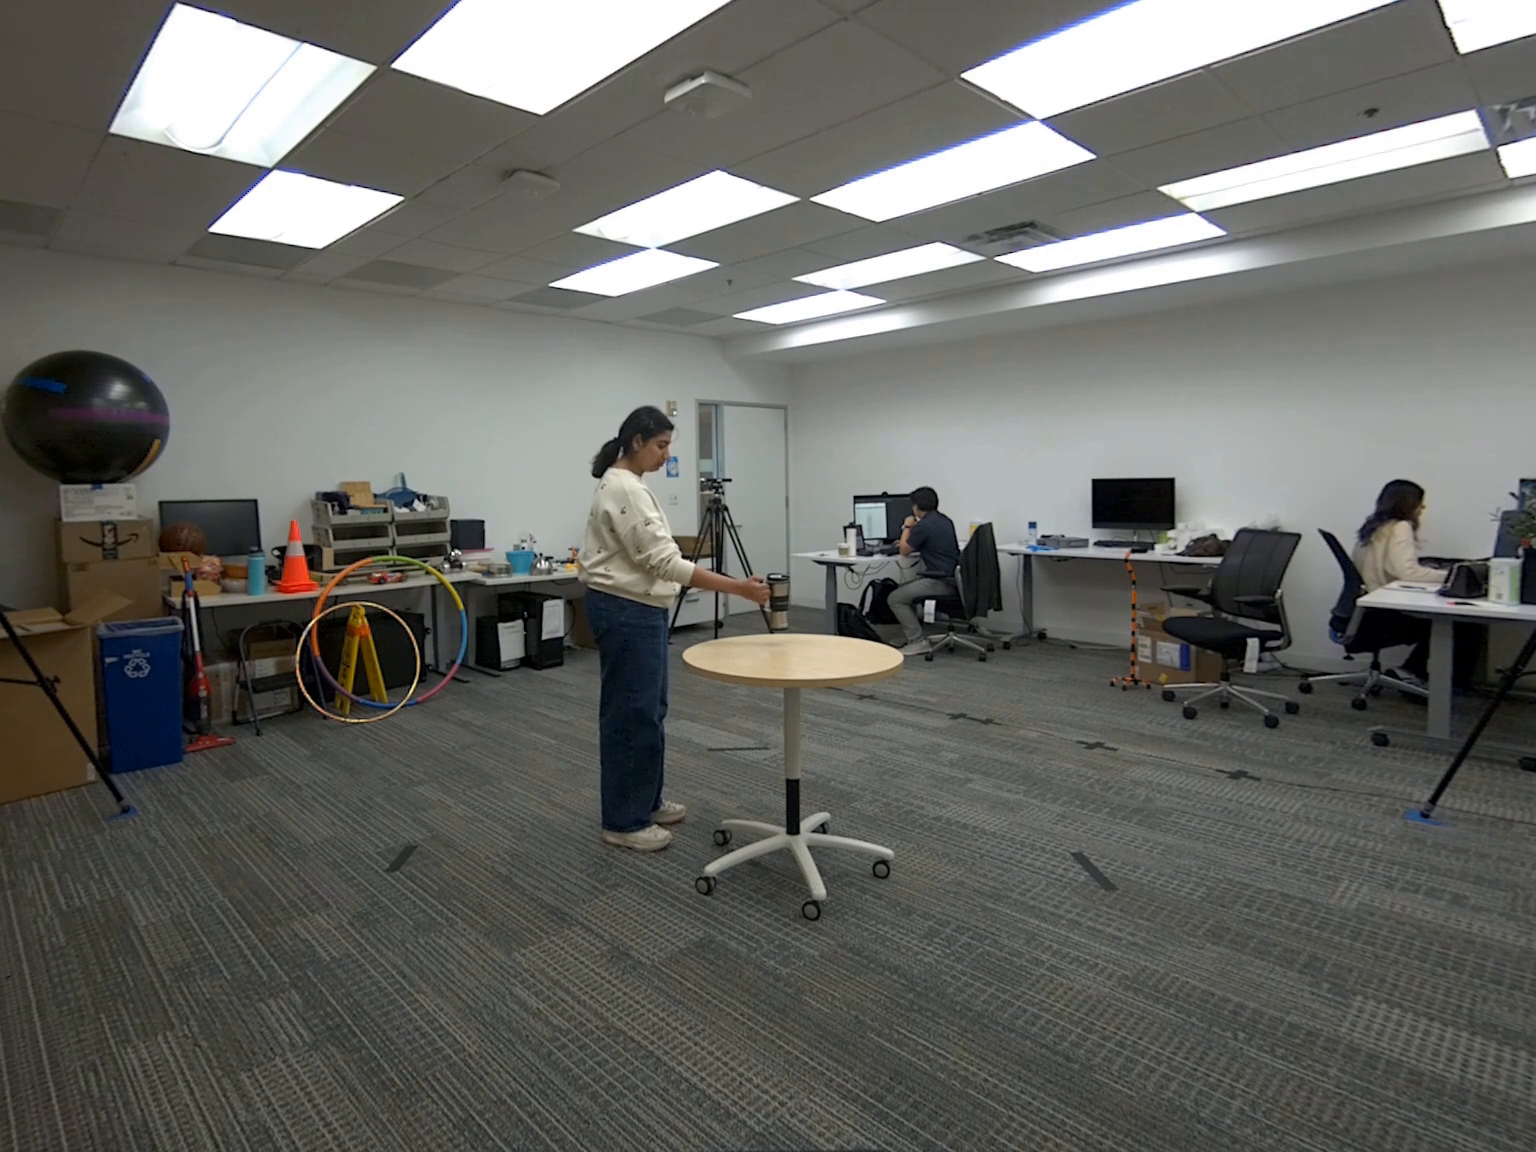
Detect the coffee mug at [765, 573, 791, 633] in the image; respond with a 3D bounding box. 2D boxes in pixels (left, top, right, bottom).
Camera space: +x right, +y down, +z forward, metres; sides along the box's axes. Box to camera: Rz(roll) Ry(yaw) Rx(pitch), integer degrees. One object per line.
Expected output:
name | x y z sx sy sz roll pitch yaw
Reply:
coffee mug | 0.016 0.097 3.141 0.122 0.201 0.089 2 12 -2
